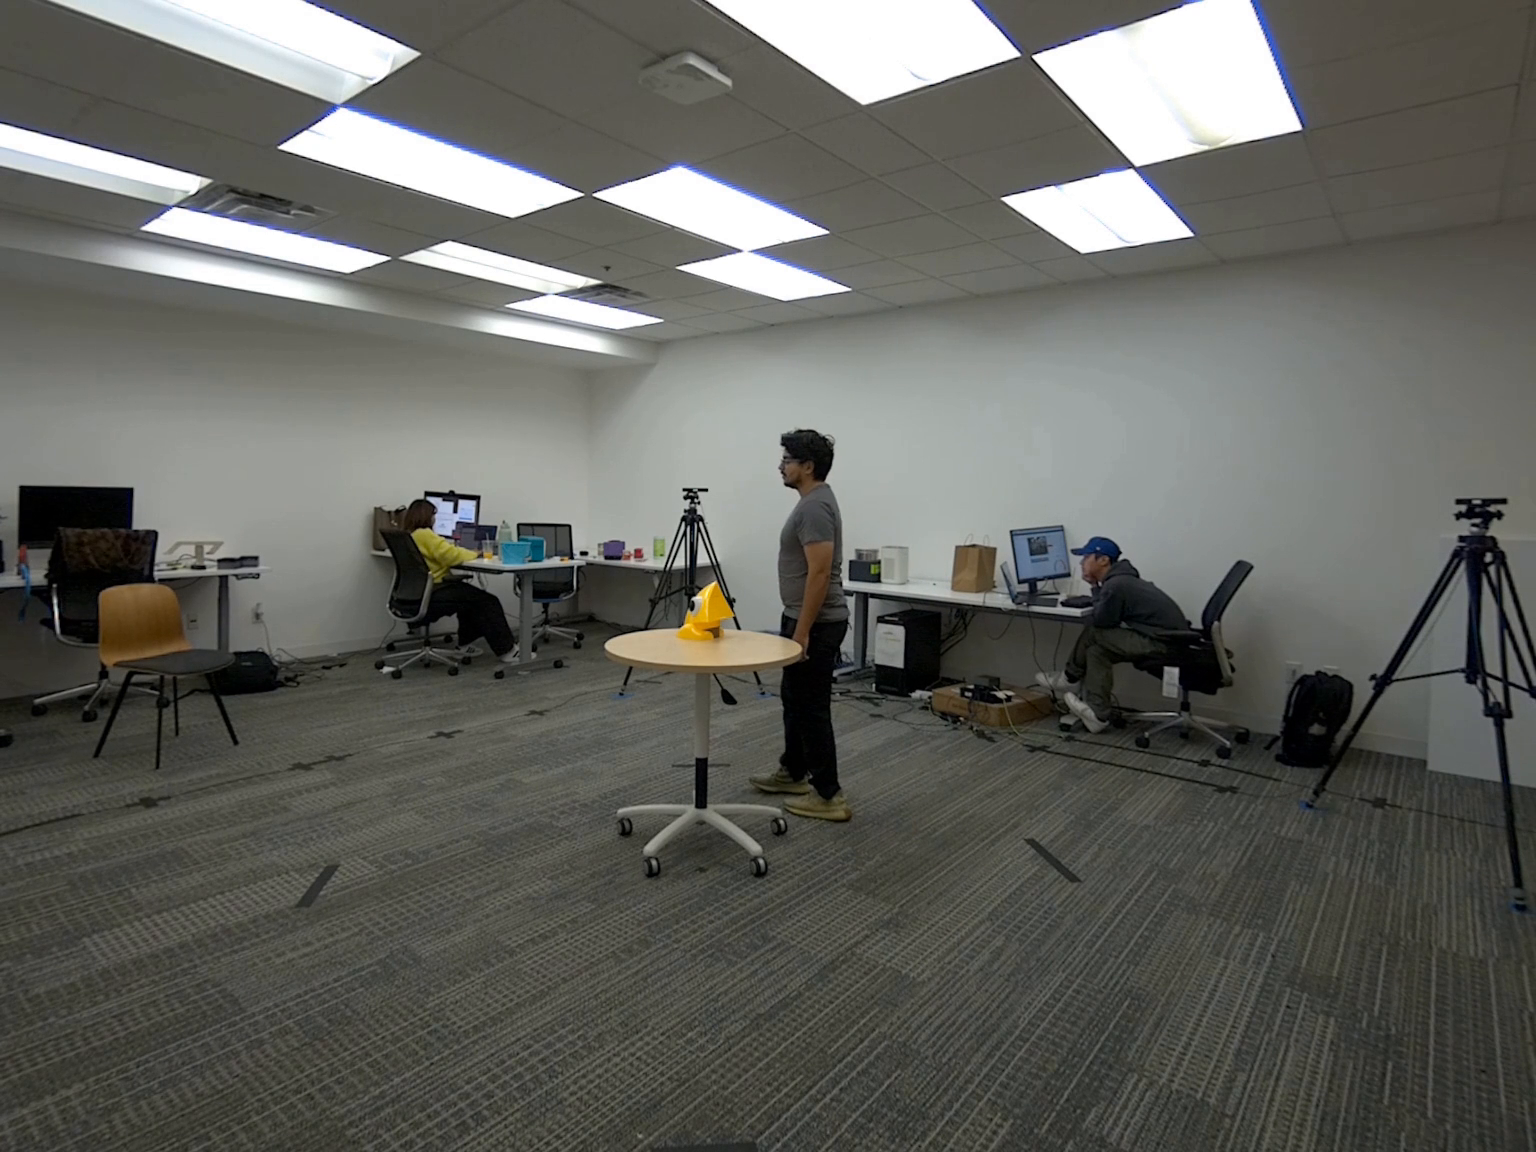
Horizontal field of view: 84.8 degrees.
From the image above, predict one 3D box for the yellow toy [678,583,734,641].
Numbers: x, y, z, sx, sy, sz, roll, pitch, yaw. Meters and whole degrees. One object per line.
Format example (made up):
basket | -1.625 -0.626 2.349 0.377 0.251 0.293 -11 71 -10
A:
yellow toy | -0.284 0.131 3.511 0.199 0.230 0.199 3 4 31
